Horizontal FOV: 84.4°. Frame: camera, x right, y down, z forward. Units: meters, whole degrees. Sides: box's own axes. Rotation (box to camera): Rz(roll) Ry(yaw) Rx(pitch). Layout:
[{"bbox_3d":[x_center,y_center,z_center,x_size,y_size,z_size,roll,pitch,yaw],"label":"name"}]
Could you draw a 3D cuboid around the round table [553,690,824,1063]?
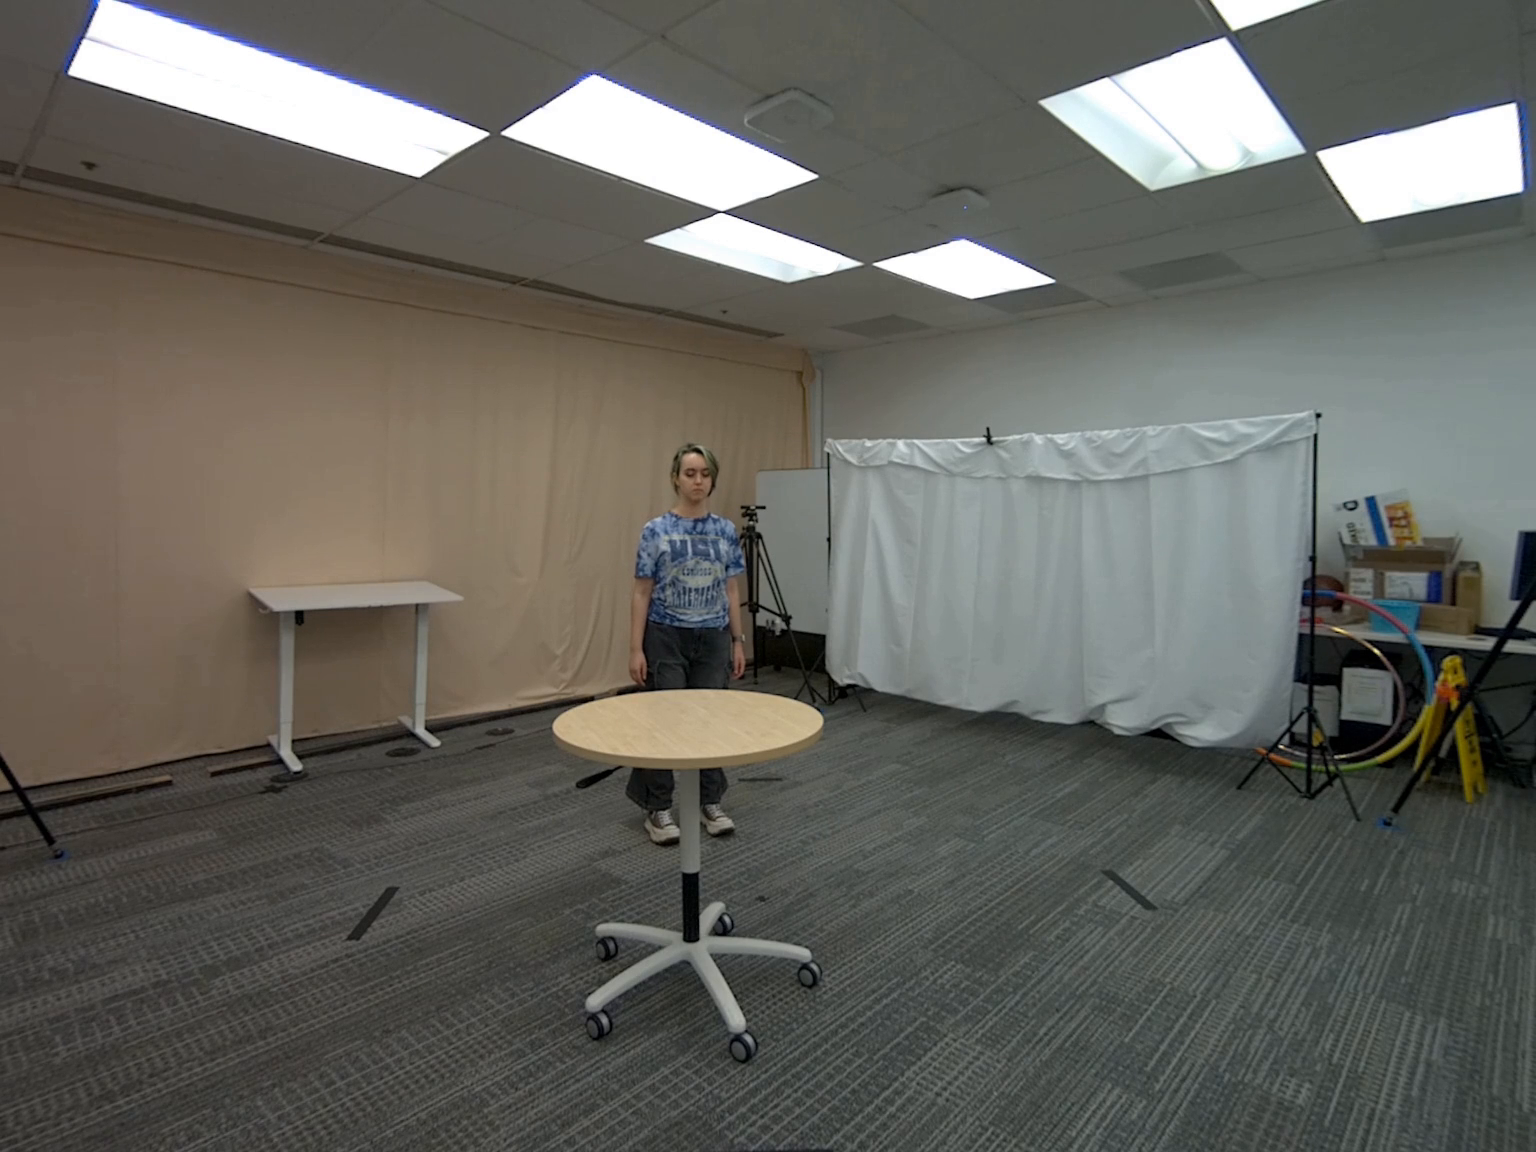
[{"bbox_3d":[-0.226,0.799,2.429,0.784,0.785,0.788,0,3,-2],"label":"round table"}]
